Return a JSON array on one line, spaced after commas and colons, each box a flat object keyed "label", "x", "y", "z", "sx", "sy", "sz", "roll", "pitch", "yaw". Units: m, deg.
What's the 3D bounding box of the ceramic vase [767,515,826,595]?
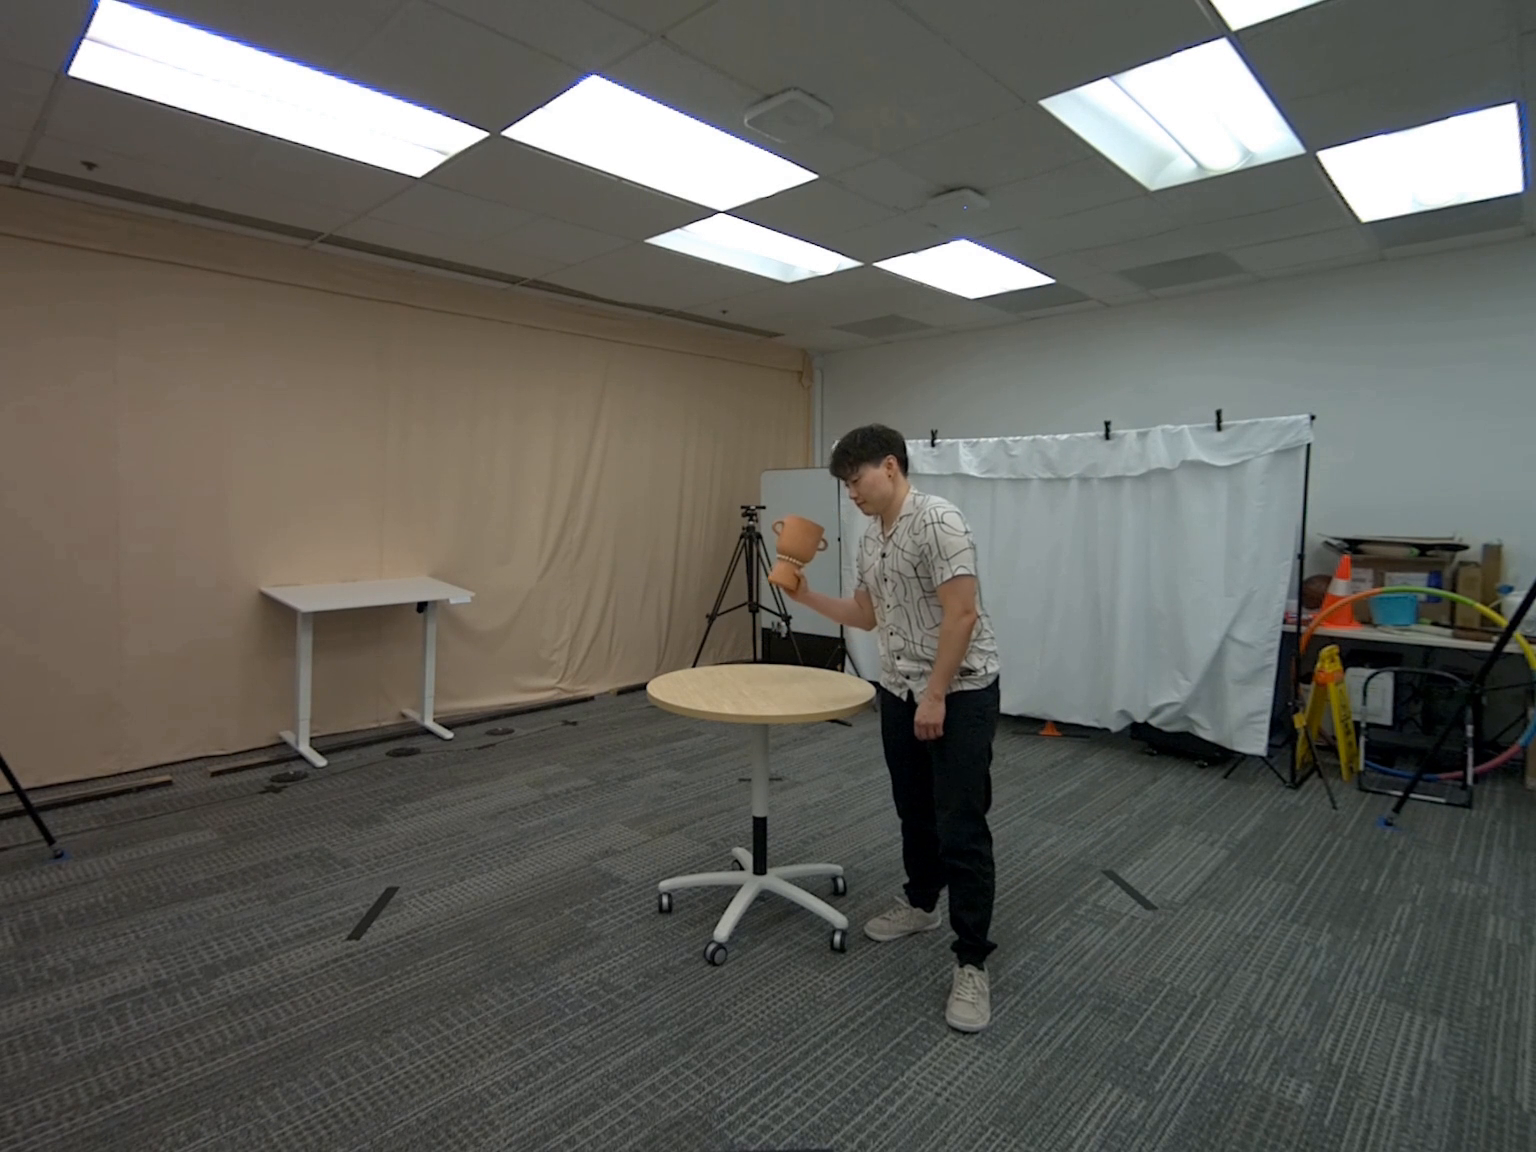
[{"label": "ceramic vase", "x": 0.090, "y": -0.067, "z": 2.700, "sx": 0.164, "sy": 0.220, "sz": 0.130, "roll": 18, "pitch": -5, "yaw": 27}]
